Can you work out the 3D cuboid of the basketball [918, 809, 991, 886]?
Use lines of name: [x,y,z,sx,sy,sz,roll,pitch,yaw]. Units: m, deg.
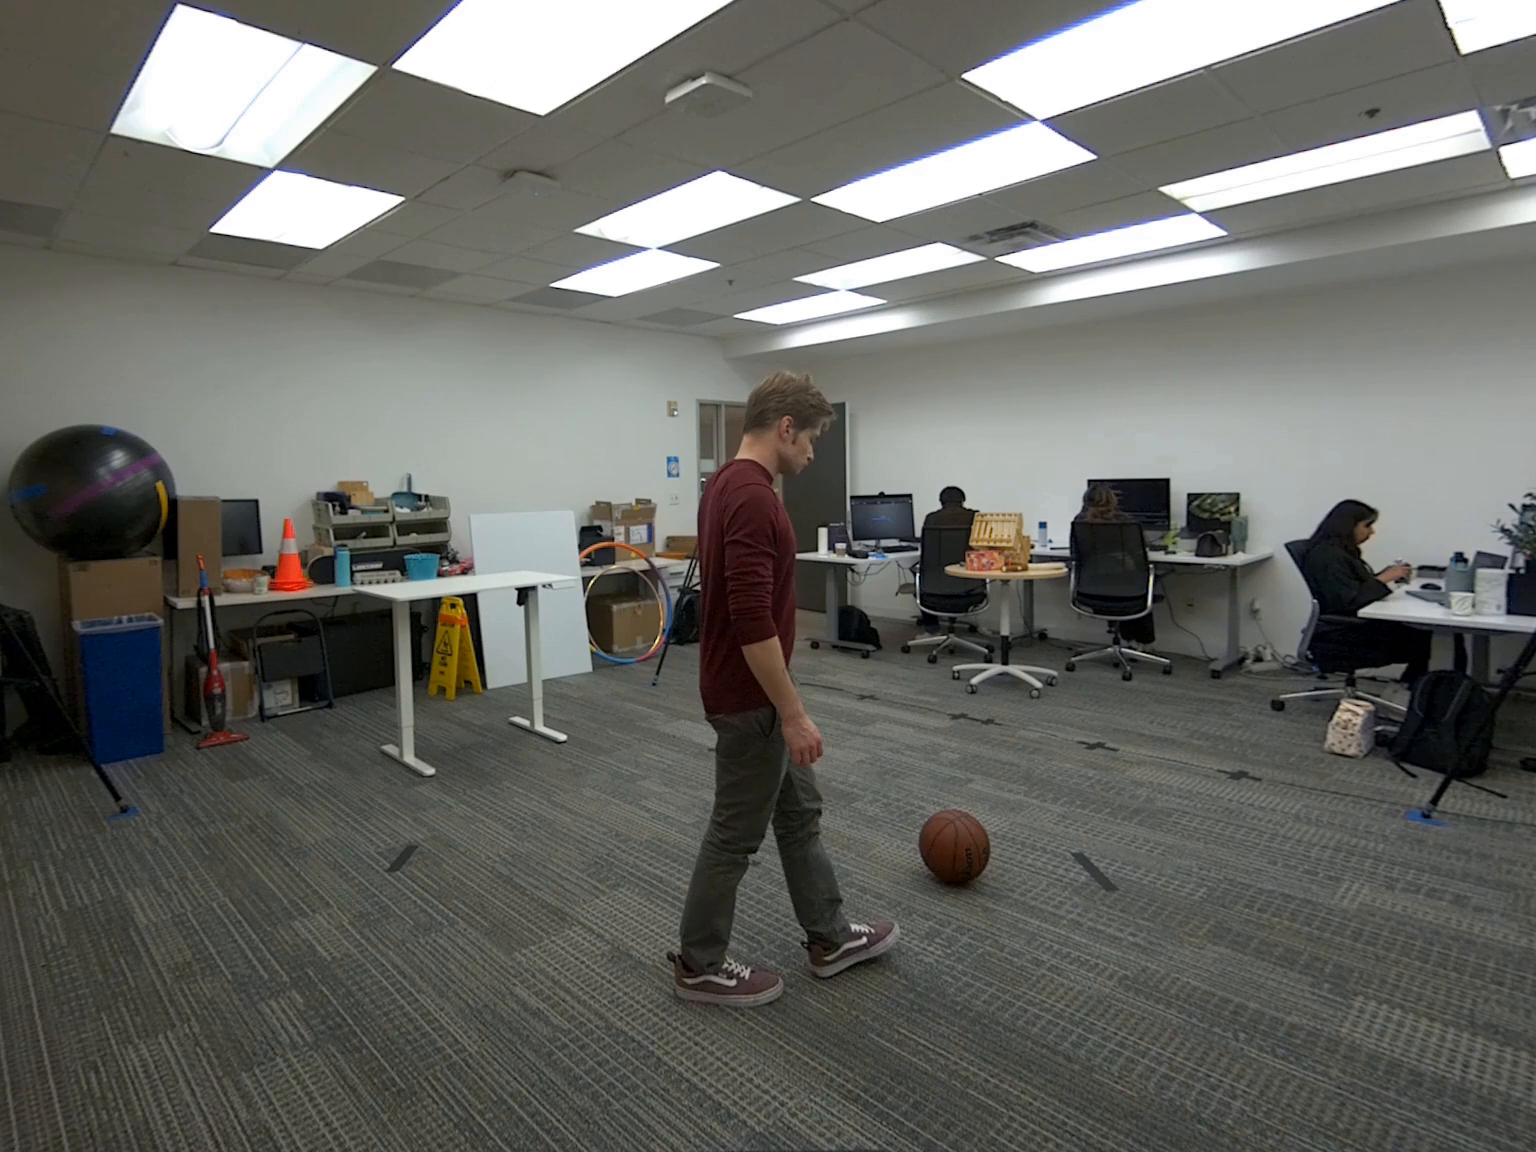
basketball: [0.645,0.927,2.947,0.236,0.235,0.237,-1,5,-2]
